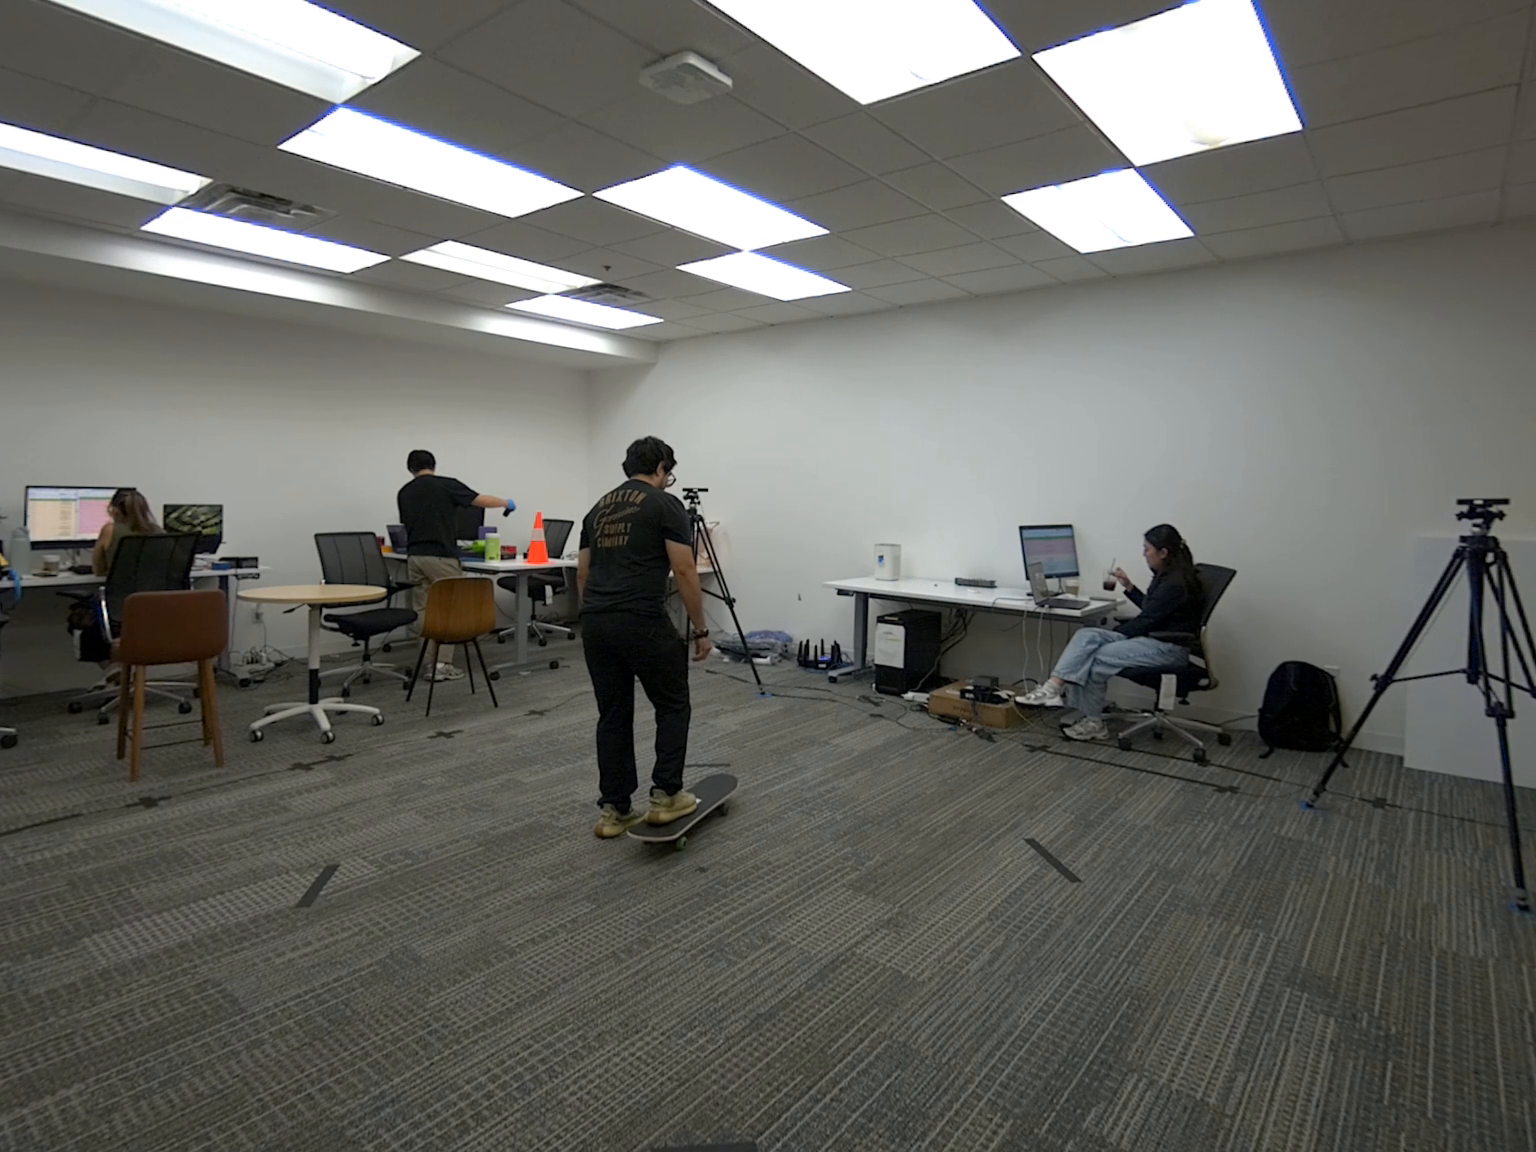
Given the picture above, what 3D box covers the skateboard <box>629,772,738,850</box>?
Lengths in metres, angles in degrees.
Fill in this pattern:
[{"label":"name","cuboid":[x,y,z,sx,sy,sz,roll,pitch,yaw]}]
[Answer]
[{"label":"skateboard","cuboid":[-0.341,0.978,3.490,0.198,0.110,0.770,1,6,22]}]
